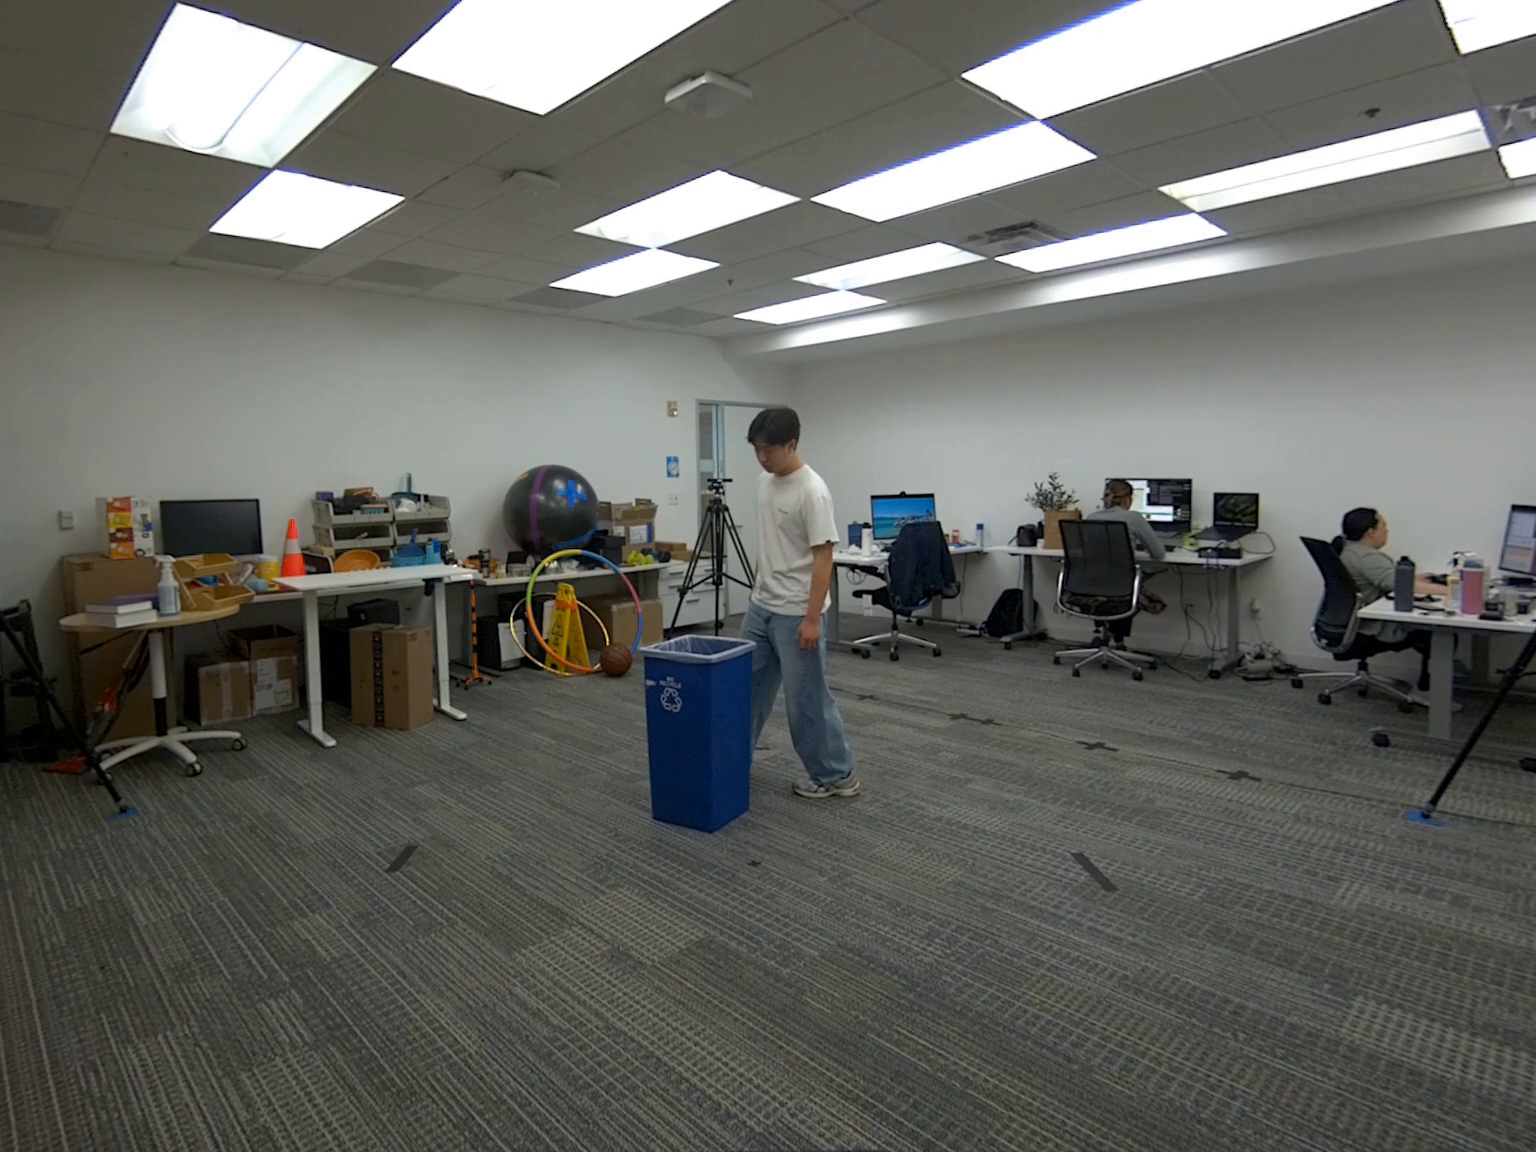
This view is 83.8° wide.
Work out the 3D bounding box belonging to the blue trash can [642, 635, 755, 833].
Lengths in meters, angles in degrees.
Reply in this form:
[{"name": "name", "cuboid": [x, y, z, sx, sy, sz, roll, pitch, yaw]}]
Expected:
[{"name": "blue trash can", "cuboid": [-0.277, 0.639, 3.556, 0.384, 0.711, 0.369, 1, 4, 30]}]
